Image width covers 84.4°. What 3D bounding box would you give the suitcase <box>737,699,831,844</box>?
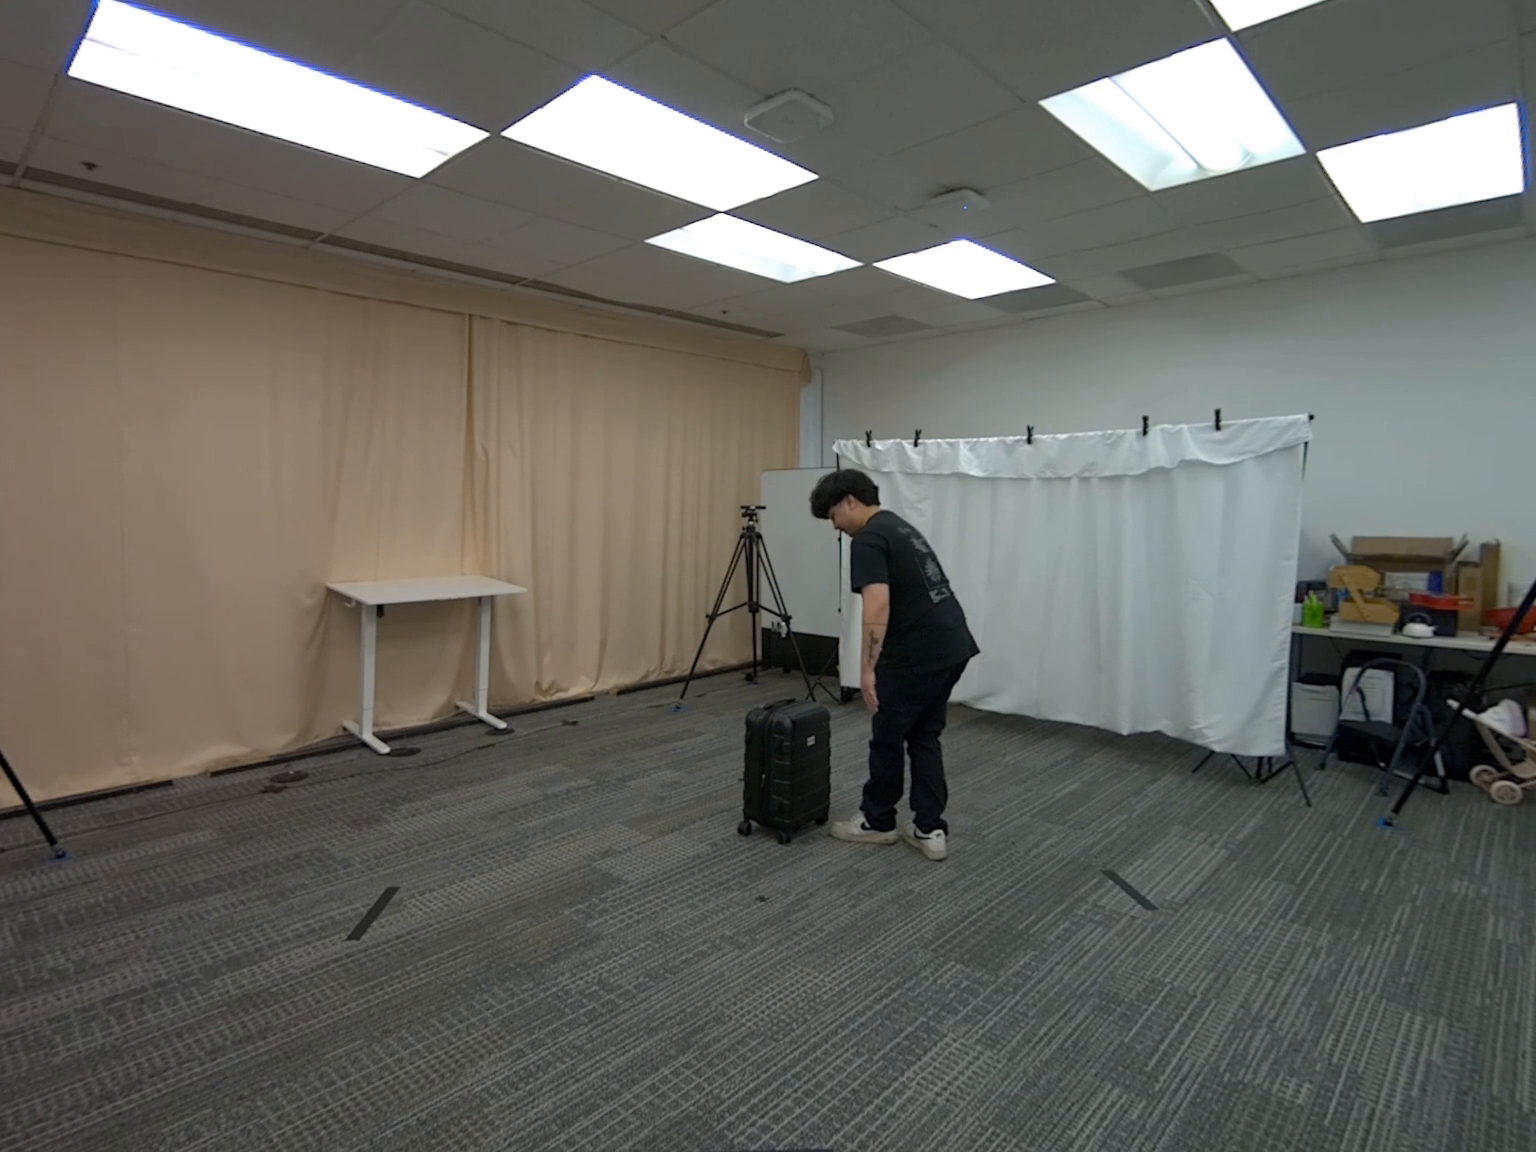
[{"bbox_3d":[0.088,0.817,3.626,0.256,0.548,0.364,4,4,37],"label":"suitcase"}]
